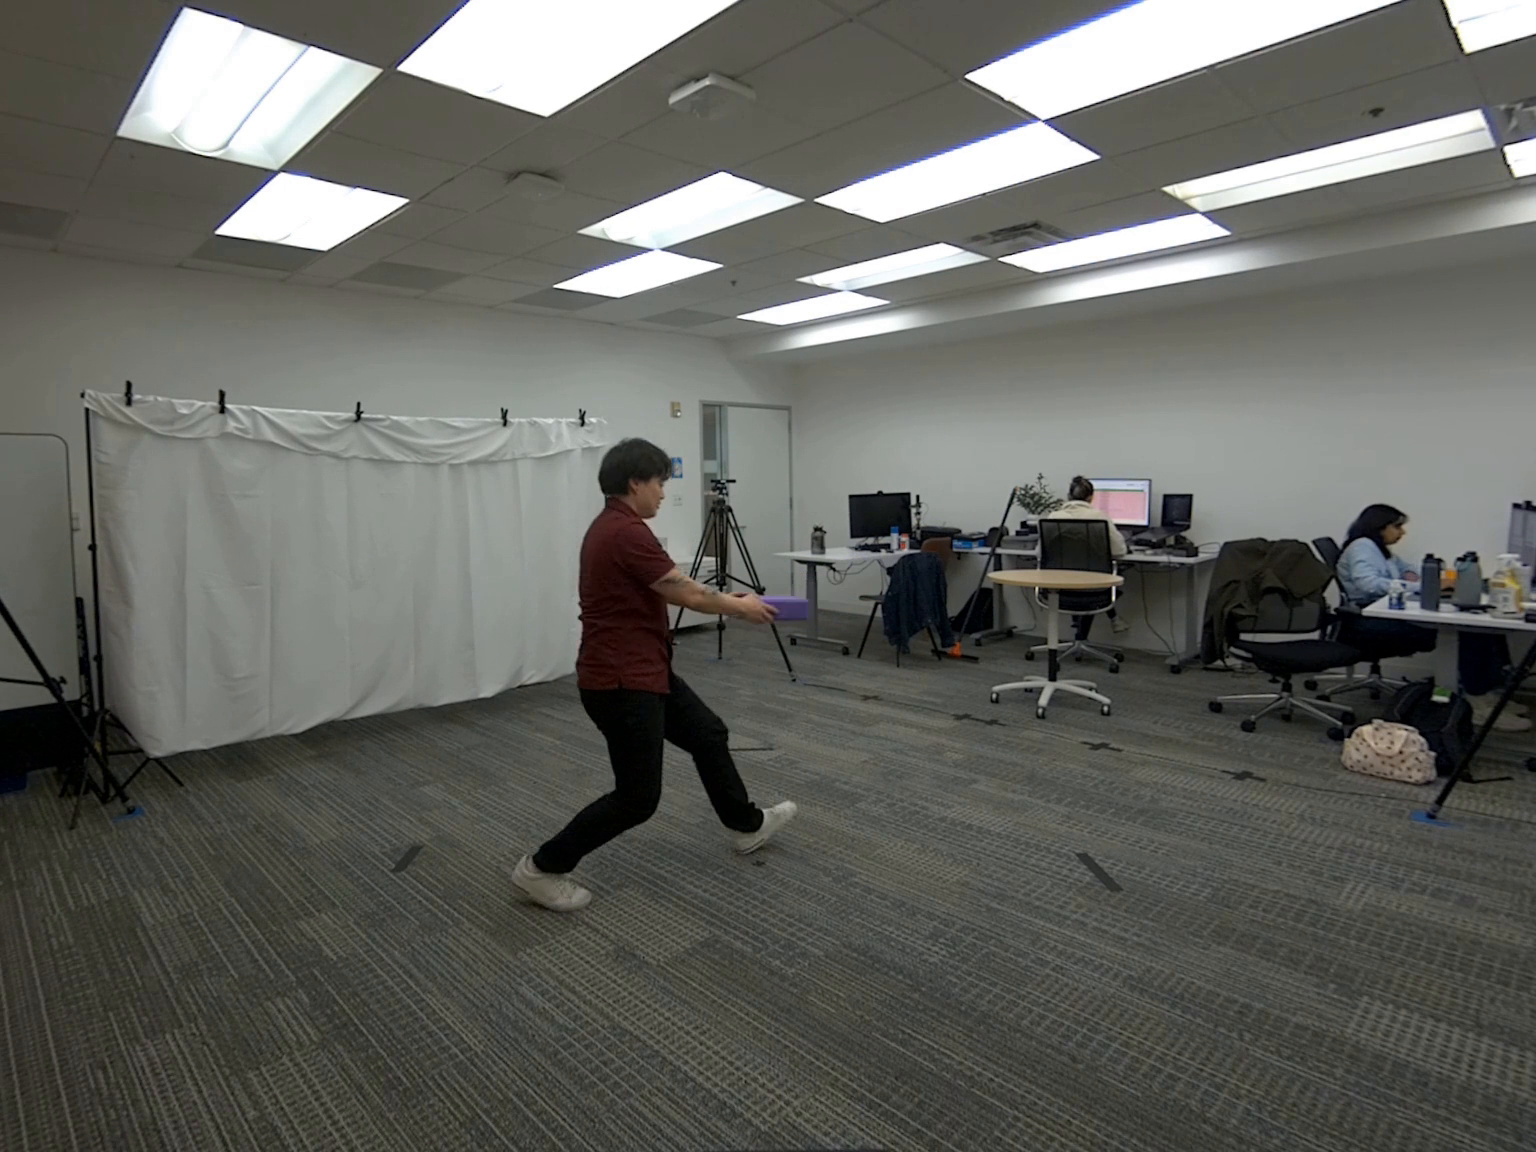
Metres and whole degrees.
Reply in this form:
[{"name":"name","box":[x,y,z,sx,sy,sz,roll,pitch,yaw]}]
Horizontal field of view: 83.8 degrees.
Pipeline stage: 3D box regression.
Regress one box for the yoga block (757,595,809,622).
[{"name":"yoga block","box":[0.029,0.118,3.139,0.225,0.076,0.152,0,5,-20]}]
